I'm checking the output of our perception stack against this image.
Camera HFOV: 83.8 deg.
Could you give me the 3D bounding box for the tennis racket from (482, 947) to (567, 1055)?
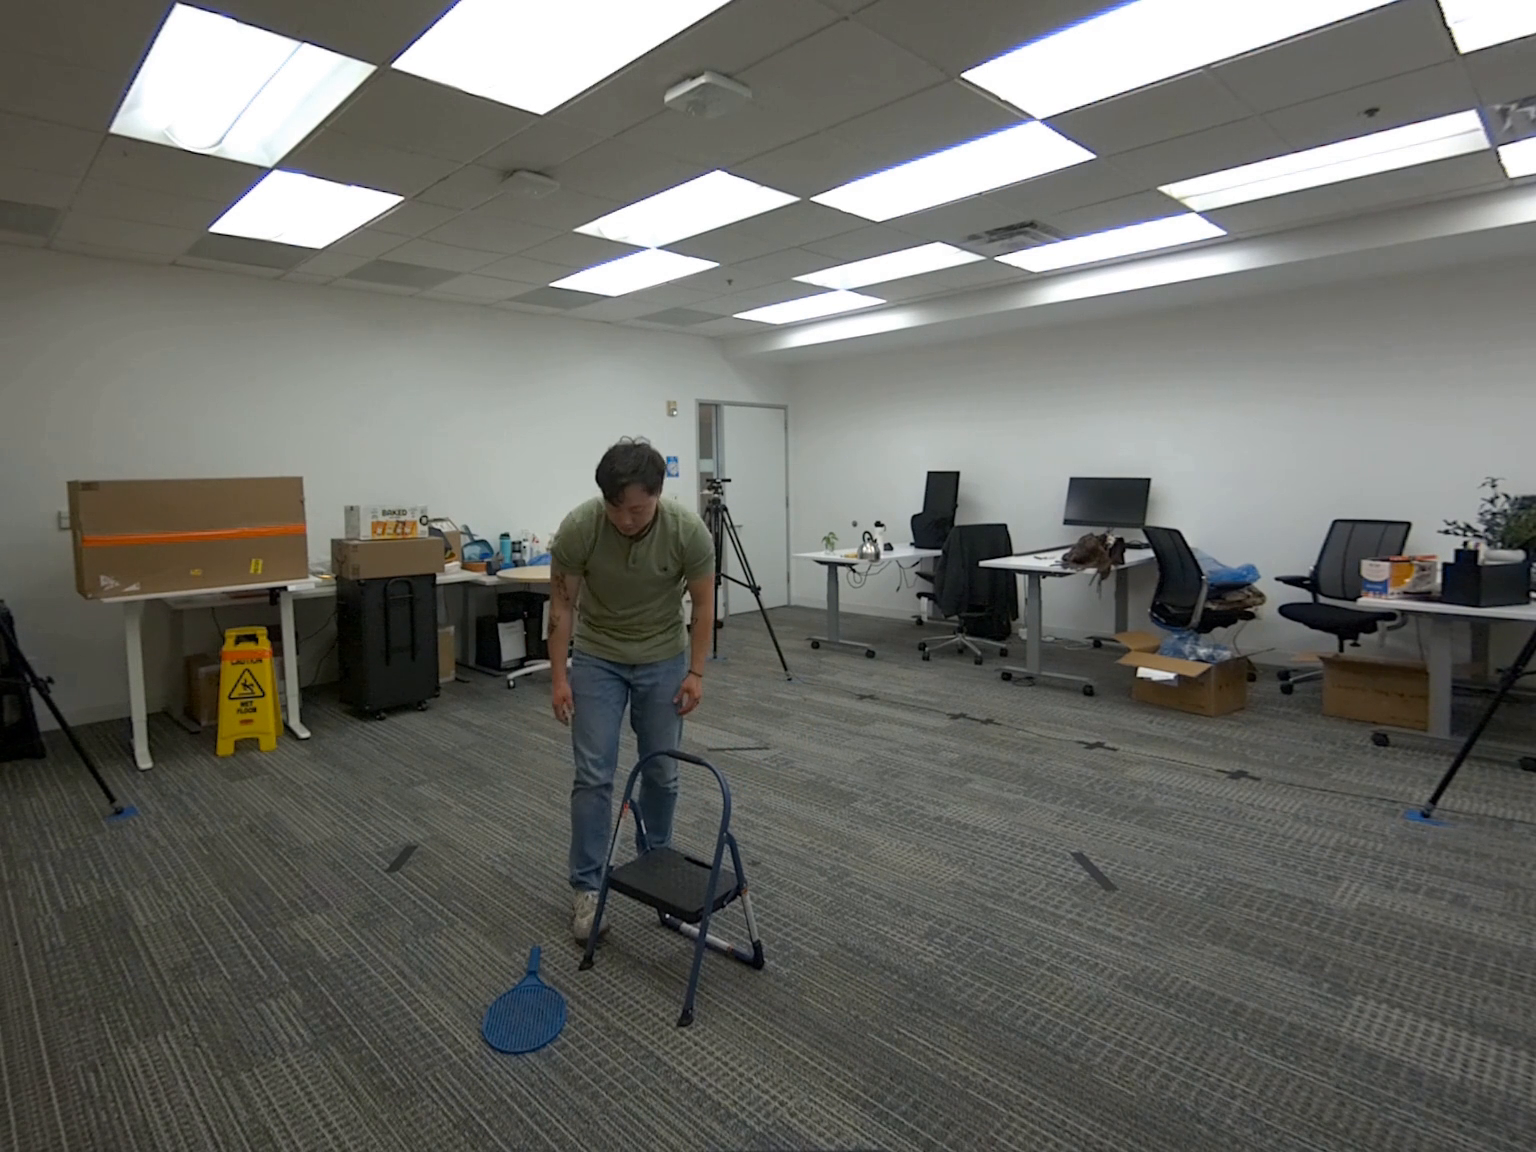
[{"bbox_3d":[-0.640,1.140,2.310,0.212,0.031,0.440,-2,8,-11],"label":"tennis racket"}]
